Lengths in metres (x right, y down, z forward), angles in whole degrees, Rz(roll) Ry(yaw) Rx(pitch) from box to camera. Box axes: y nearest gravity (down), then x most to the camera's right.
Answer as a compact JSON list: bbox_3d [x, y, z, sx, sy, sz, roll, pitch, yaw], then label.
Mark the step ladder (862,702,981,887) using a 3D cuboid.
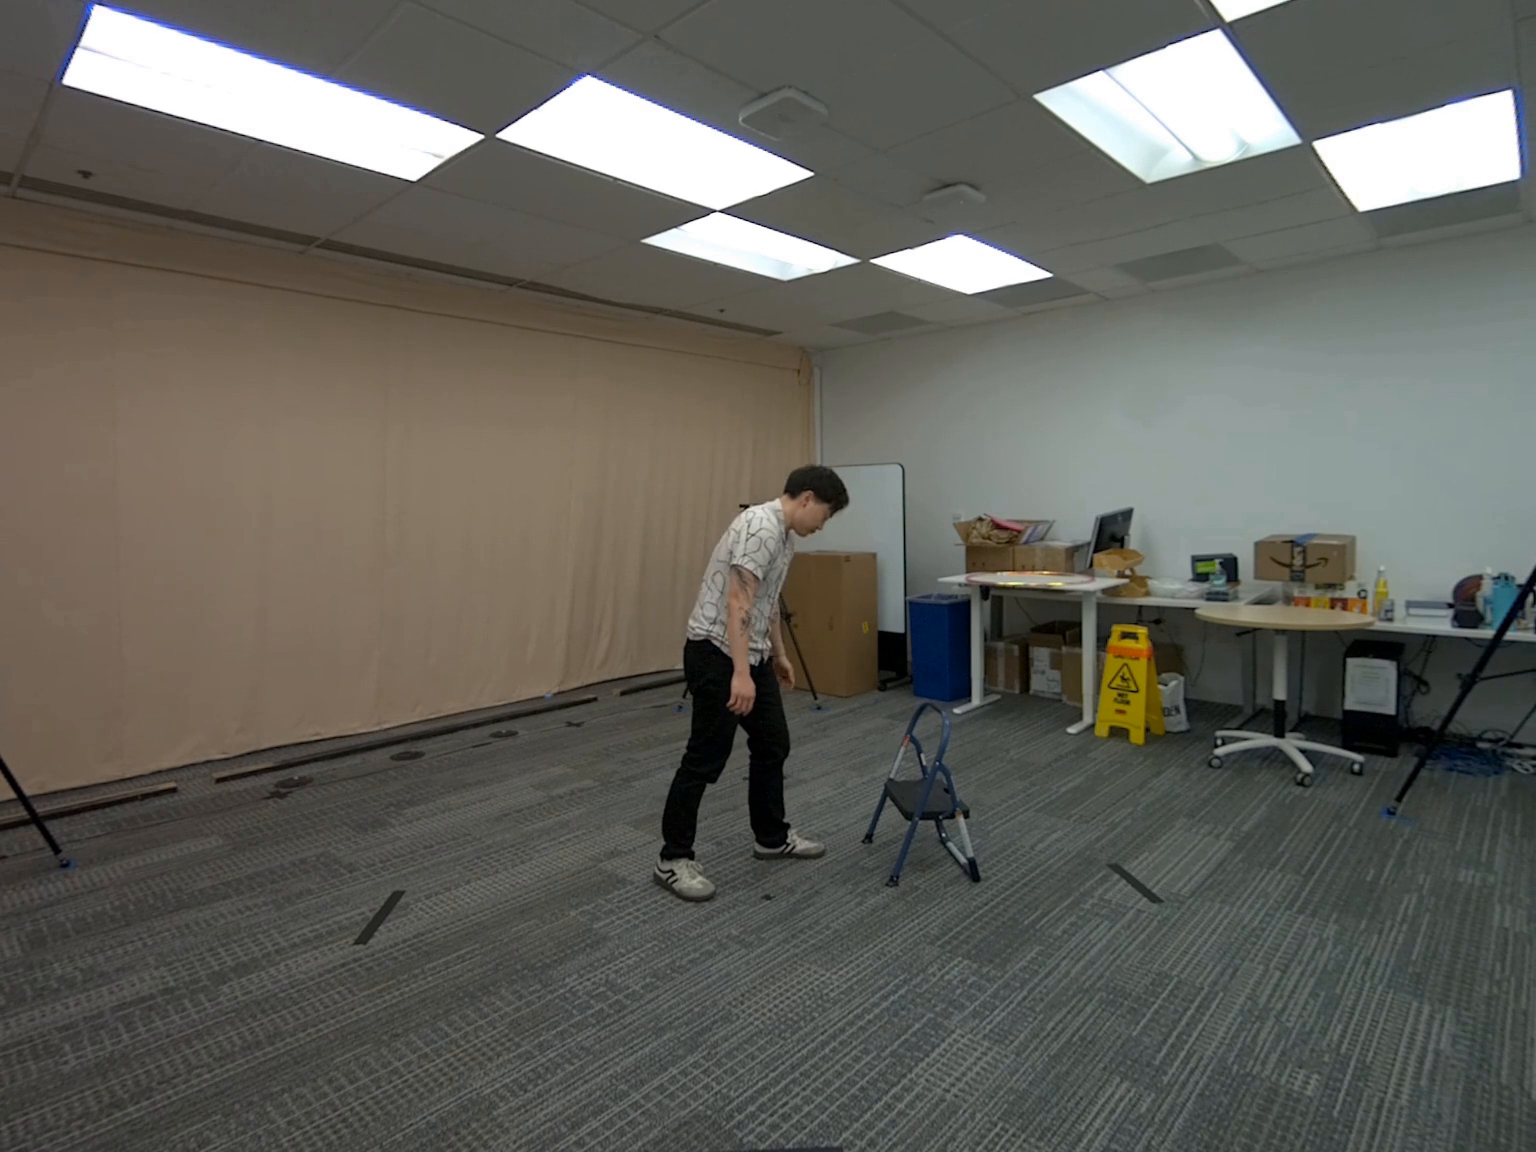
[{"bbox_3d":[0.587,0.803,3.248,0.347,0.605,0.434,-1,4,-6],"label":"step ladder"}]
